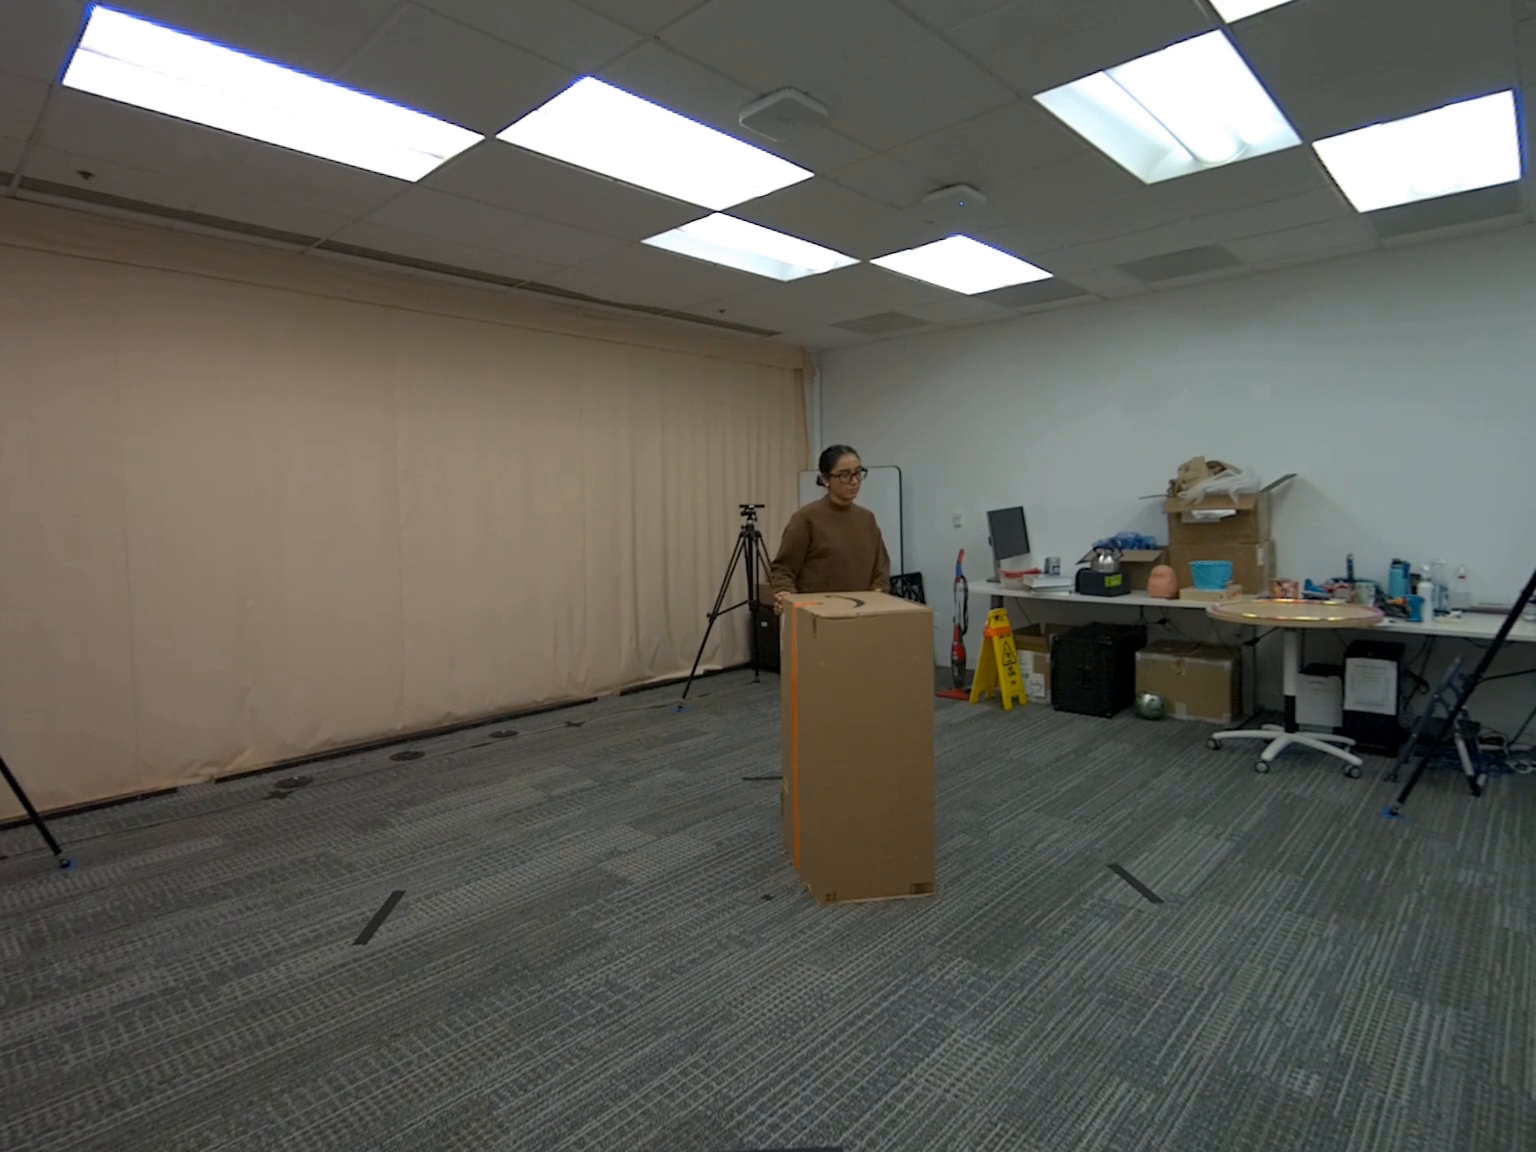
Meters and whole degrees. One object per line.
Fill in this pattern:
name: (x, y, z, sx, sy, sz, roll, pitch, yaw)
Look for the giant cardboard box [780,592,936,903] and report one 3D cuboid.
giant cardboard box: (0.315, 0.602, 3.184, 0.422, 1.023, 0.585, -2, 4, -10)
